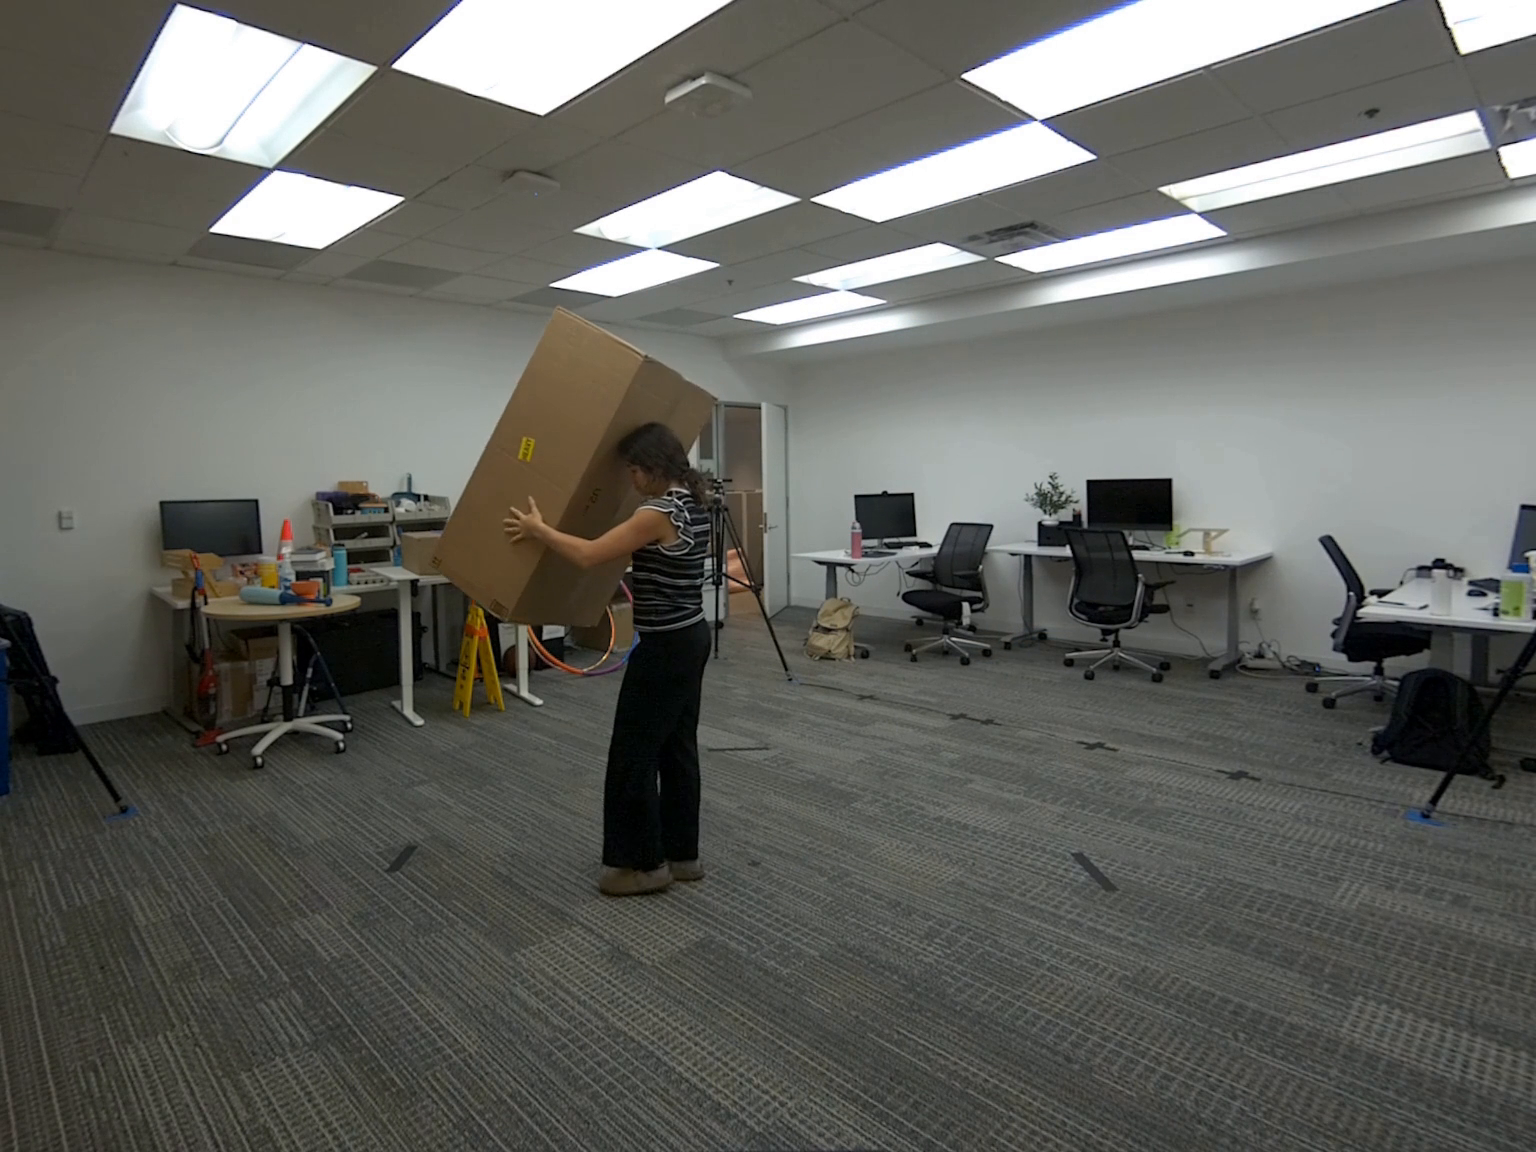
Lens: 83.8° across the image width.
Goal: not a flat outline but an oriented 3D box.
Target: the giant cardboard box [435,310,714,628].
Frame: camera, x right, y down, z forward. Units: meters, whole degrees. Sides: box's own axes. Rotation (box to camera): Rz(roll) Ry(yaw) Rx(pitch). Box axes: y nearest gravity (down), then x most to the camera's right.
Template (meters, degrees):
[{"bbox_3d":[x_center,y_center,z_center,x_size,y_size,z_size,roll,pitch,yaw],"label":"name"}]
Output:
[{"bbox_3d":[-0.703,-0.352,3.160,0.438,1.023,0.563,32,7,22],"label":"giant cardboard box"}]
